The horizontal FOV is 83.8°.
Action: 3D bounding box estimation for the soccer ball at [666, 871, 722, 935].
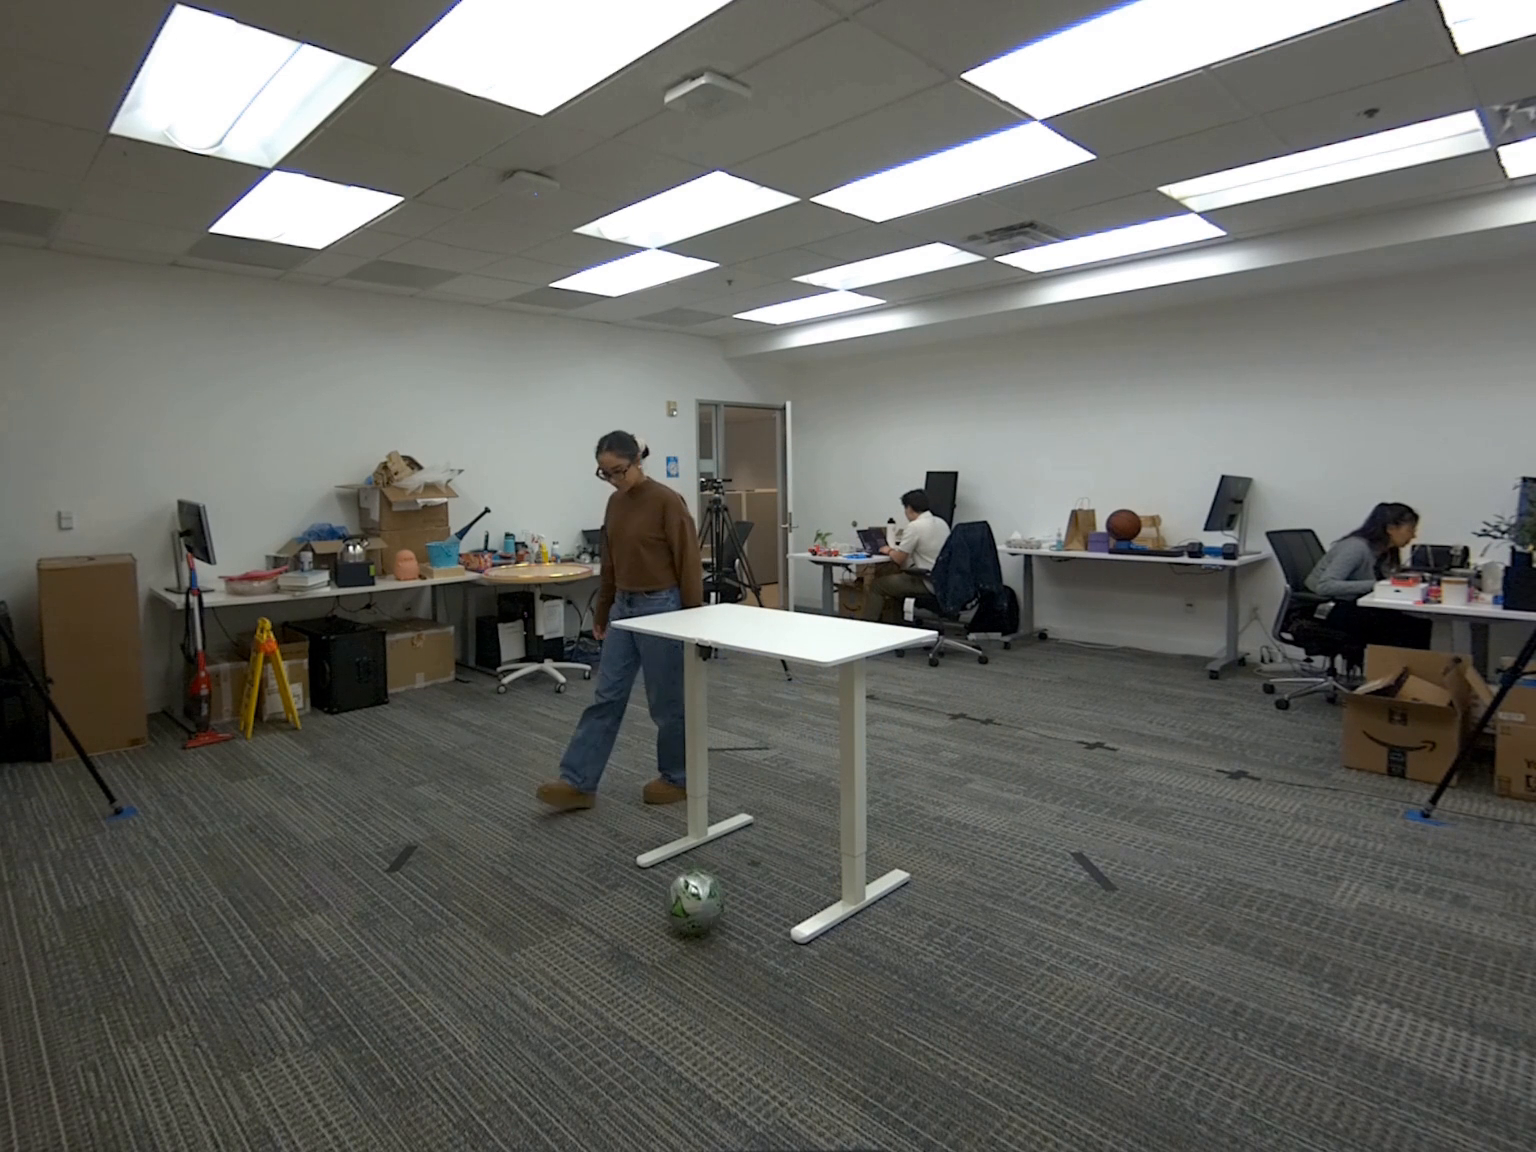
[{"bbox_3d":[-0.226,1.007,2.639,0.187,0.187,0.188,-1,5,-2],"label":"soccer ball"}]
